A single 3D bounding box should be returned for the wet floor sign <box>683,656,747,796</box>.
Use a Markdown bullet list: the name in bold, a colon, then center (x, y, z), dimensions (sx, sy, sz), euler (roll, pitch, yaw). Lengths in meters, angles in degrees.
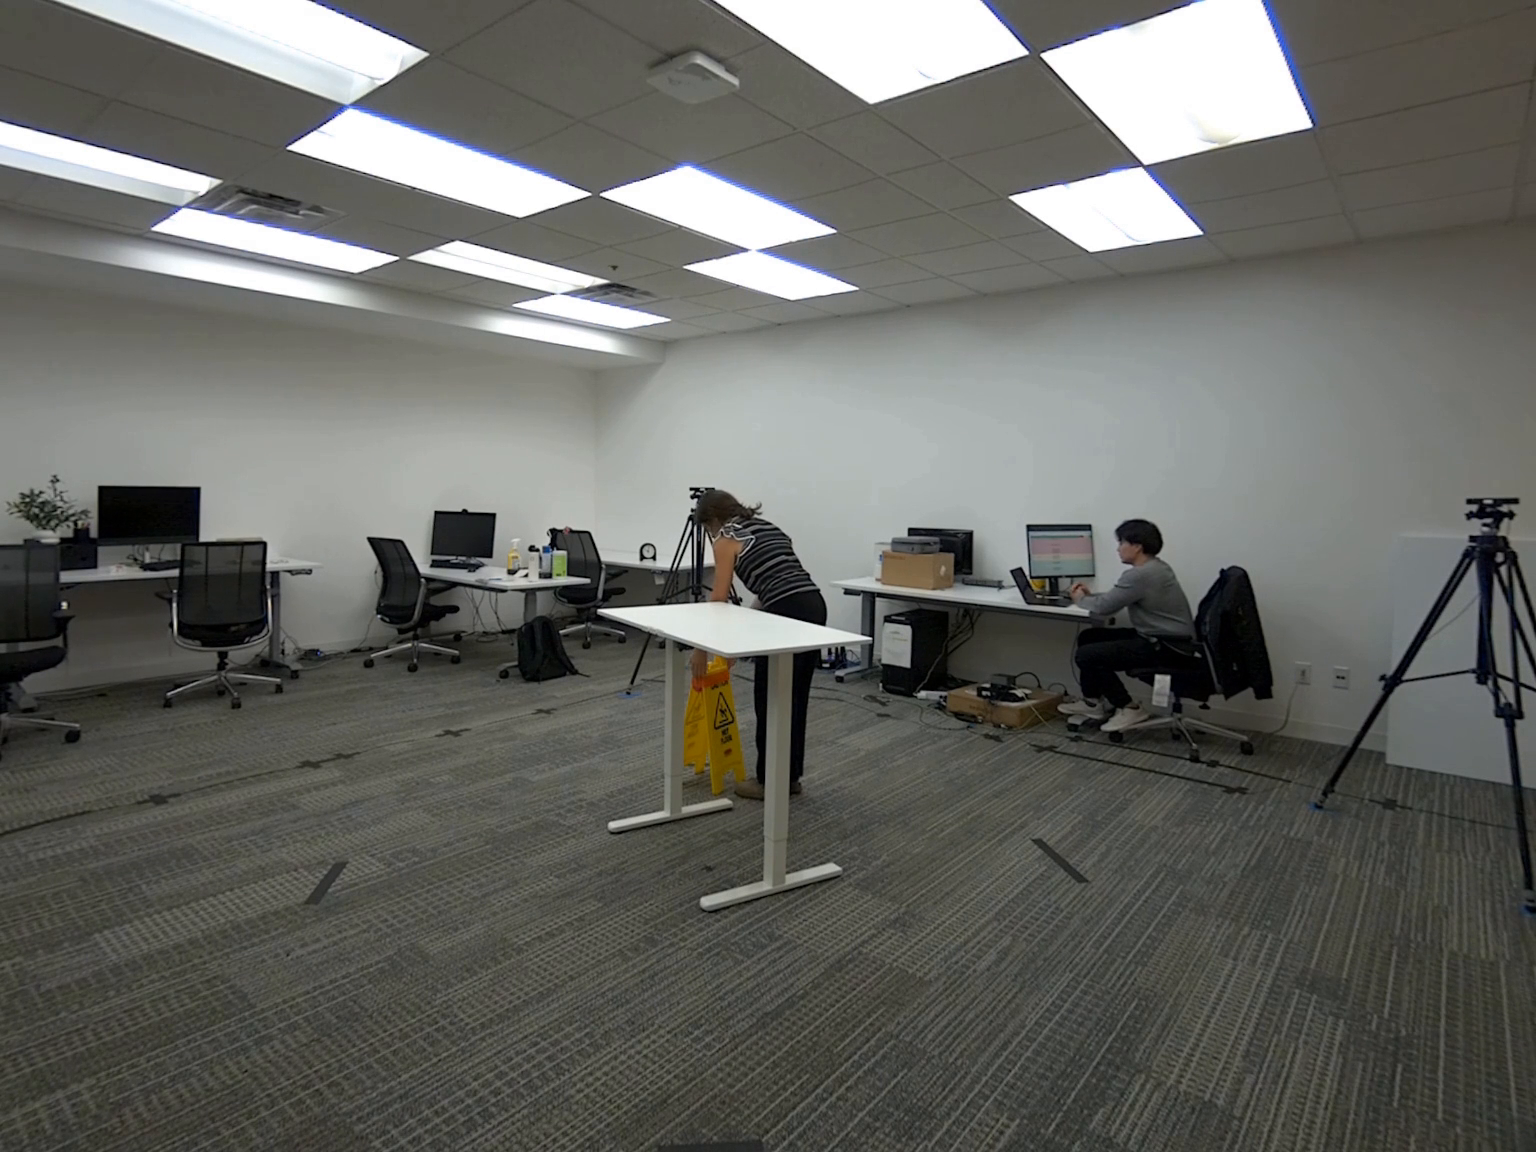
- **wet floor sign**: center (-0.284, 0.655, 4.033), dimensions (0.298, 0.644, 0.275), euler (3, 4, 29)
